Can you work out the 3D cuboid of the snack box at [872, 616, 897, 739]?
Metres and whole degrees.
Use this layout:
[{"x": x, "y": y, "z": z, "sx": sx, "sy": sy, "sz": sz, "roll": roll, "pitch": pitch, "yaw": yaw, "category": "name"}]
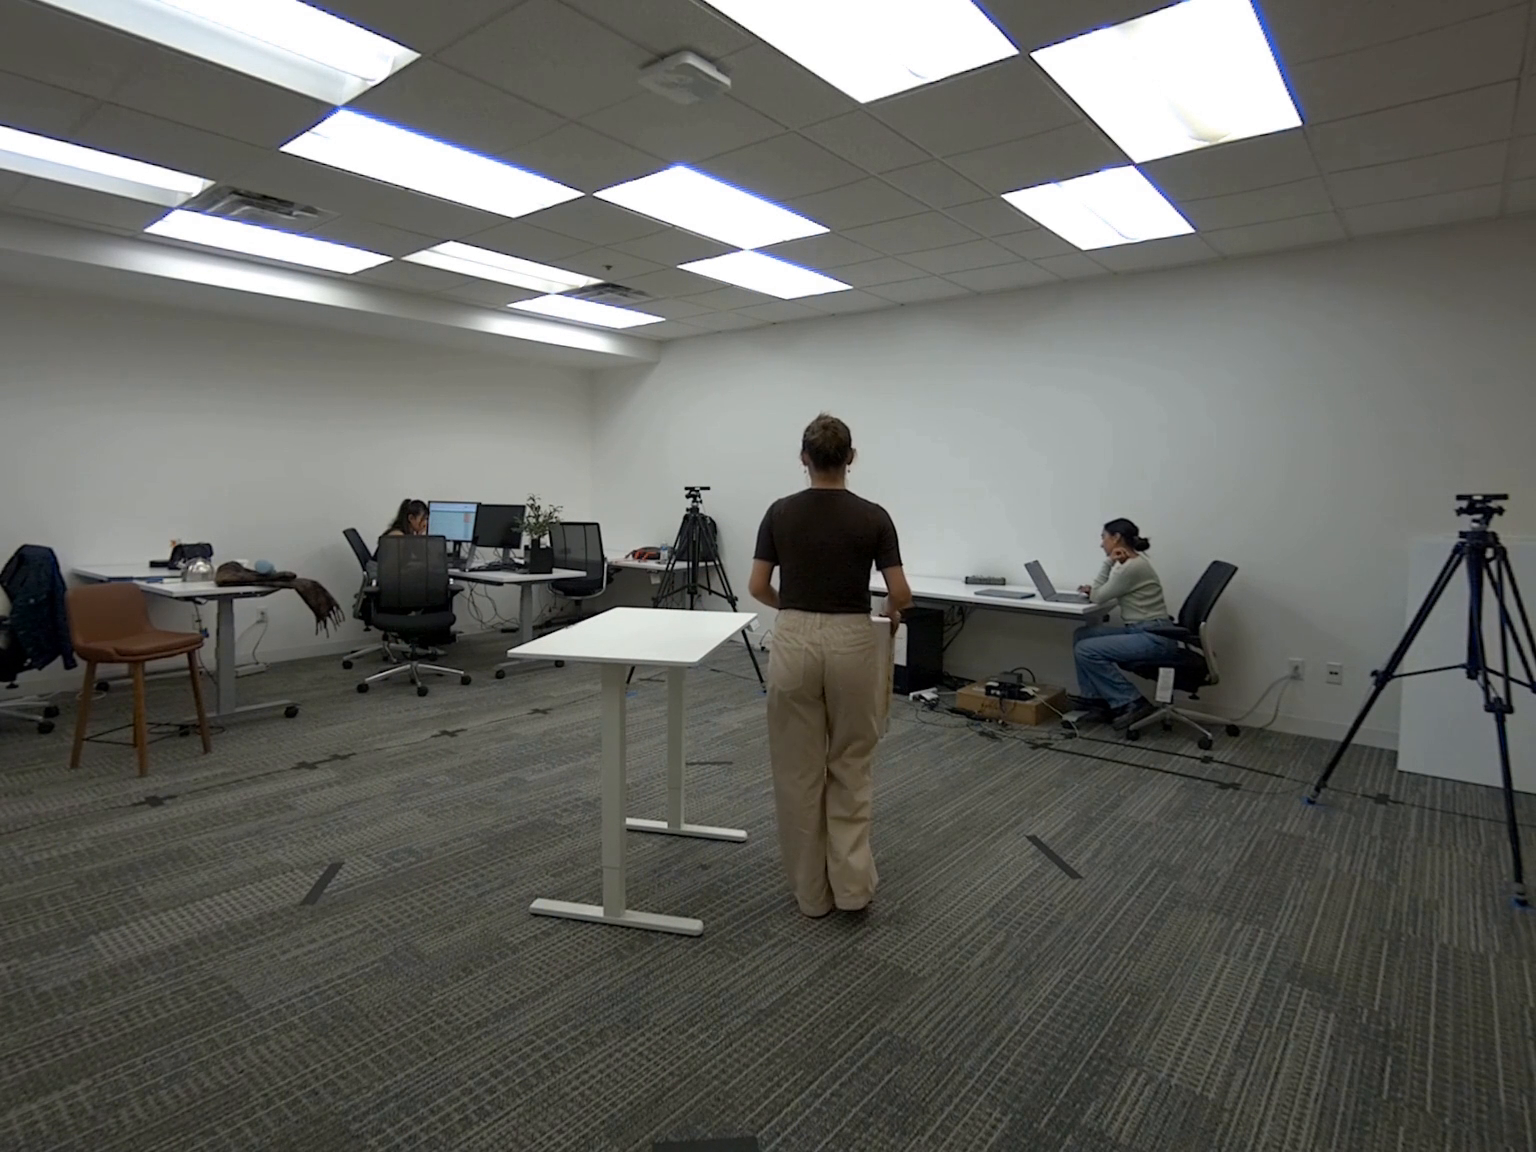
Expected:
[{"x": 0.269, "y": 0.342, "z": 3.079, "sx": 0.347, "sy": 0.405, "sz": 0.202, "roll": 4, "pitch": -1, "yaw": 17, "category": "snack box"}]
